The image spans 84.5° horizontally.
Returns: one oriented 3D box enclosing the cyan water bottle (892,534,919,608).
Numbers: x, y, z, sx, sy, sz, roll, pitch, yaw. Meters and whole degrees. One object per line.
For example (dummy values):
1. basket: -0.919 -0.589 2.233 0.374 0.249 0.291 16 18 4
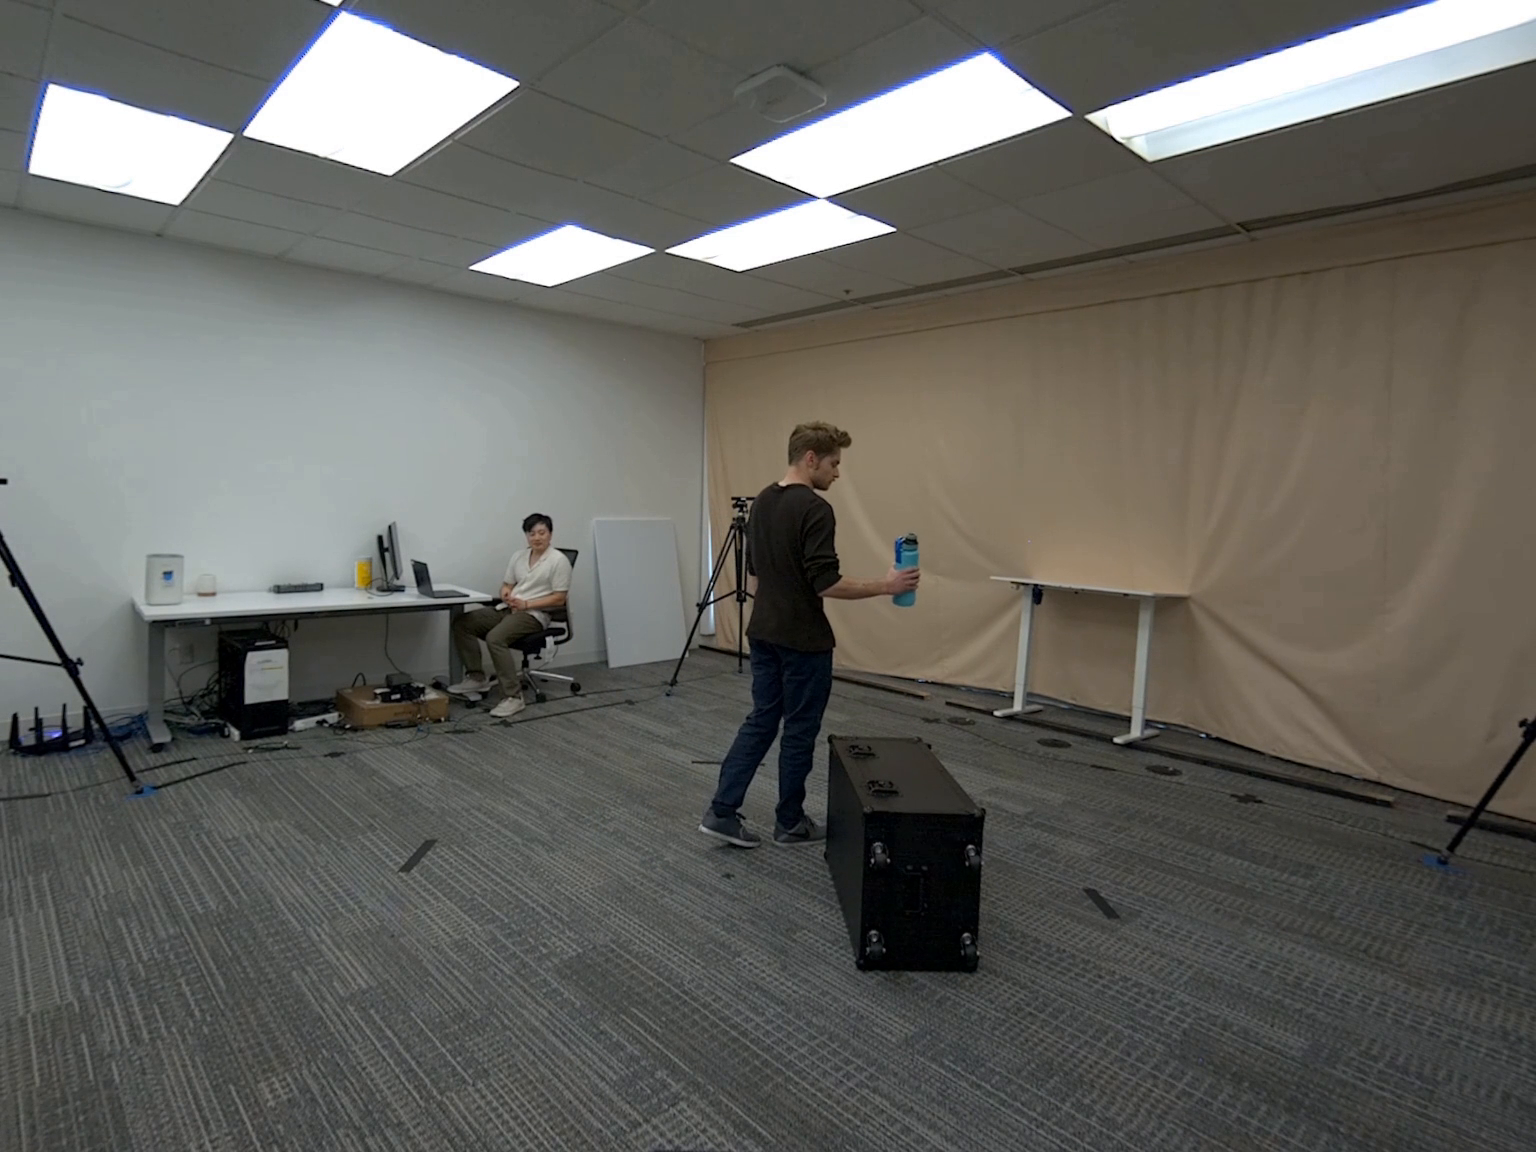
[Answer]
1. cyan water bottle: 0.520 -0.028 3.267 0.092 0.280 0.093 0 18 -1
